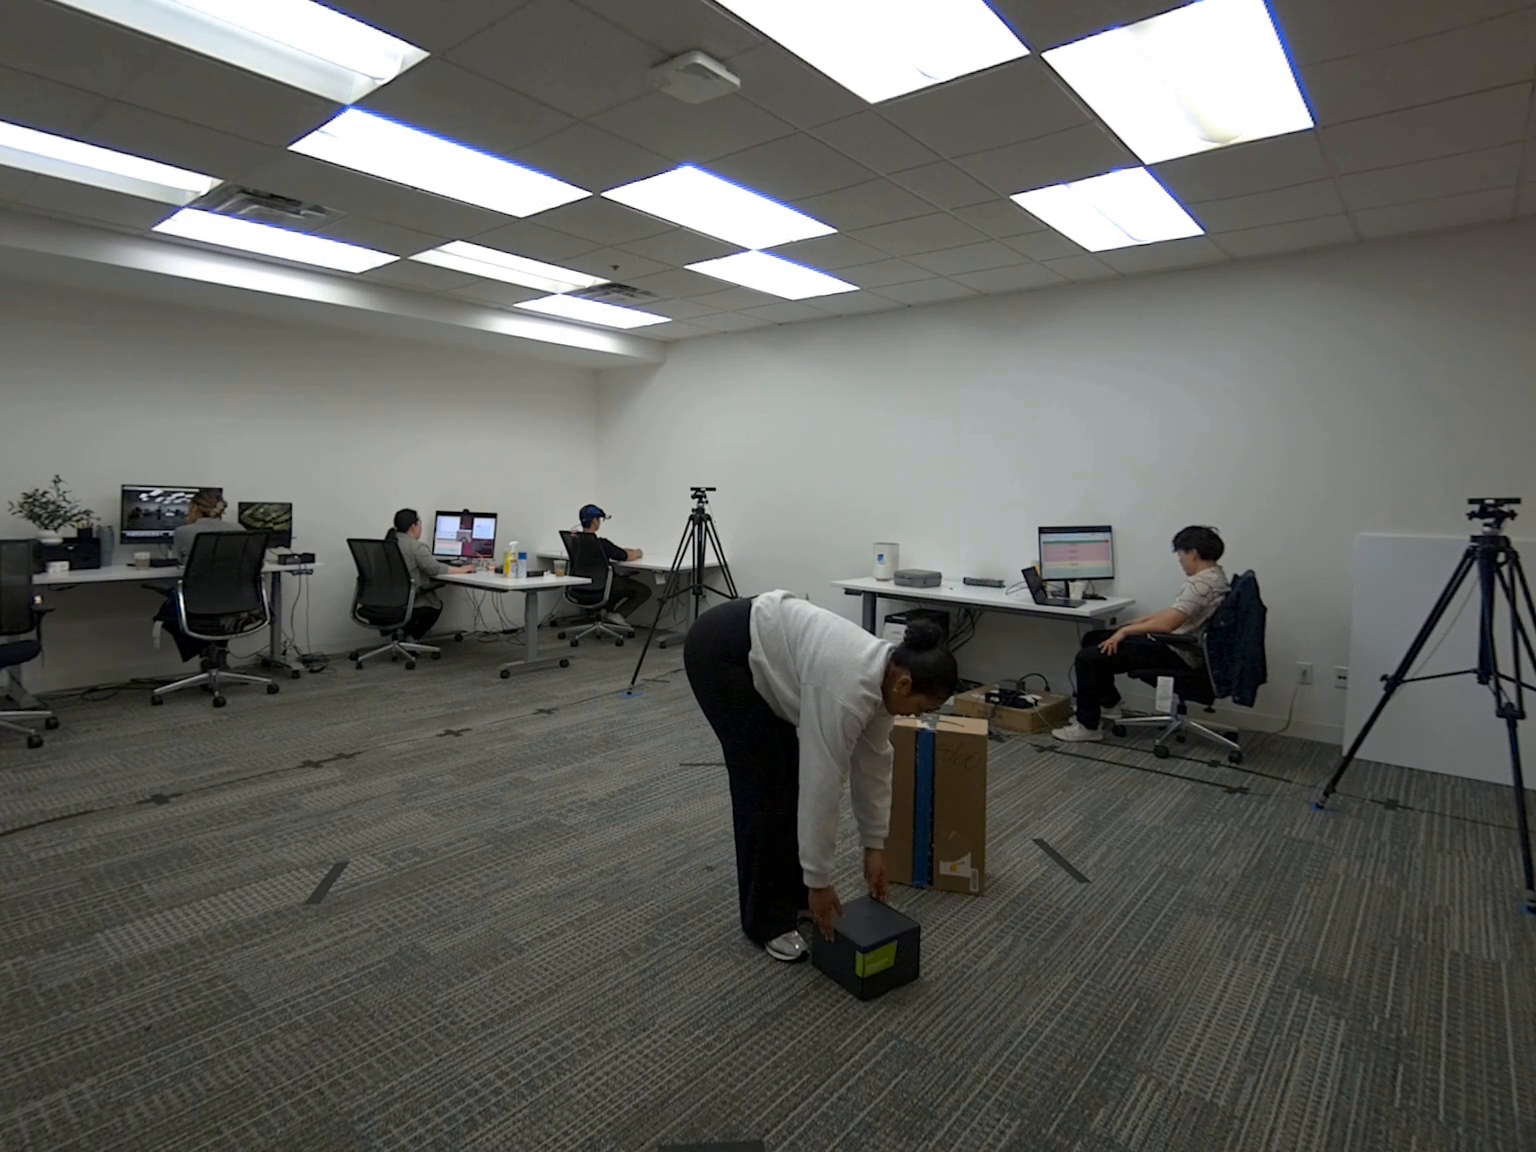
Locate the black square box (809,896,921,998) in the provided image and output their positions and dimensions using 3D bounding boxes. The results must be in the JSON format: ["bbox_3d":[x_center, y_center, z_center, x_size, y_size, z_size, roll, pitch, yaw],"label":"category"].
[{"bbox_3d":[0.274,1.041,2.463,0.221,0.155,0.224,-3,8,-37],"label":"black square box"}]
